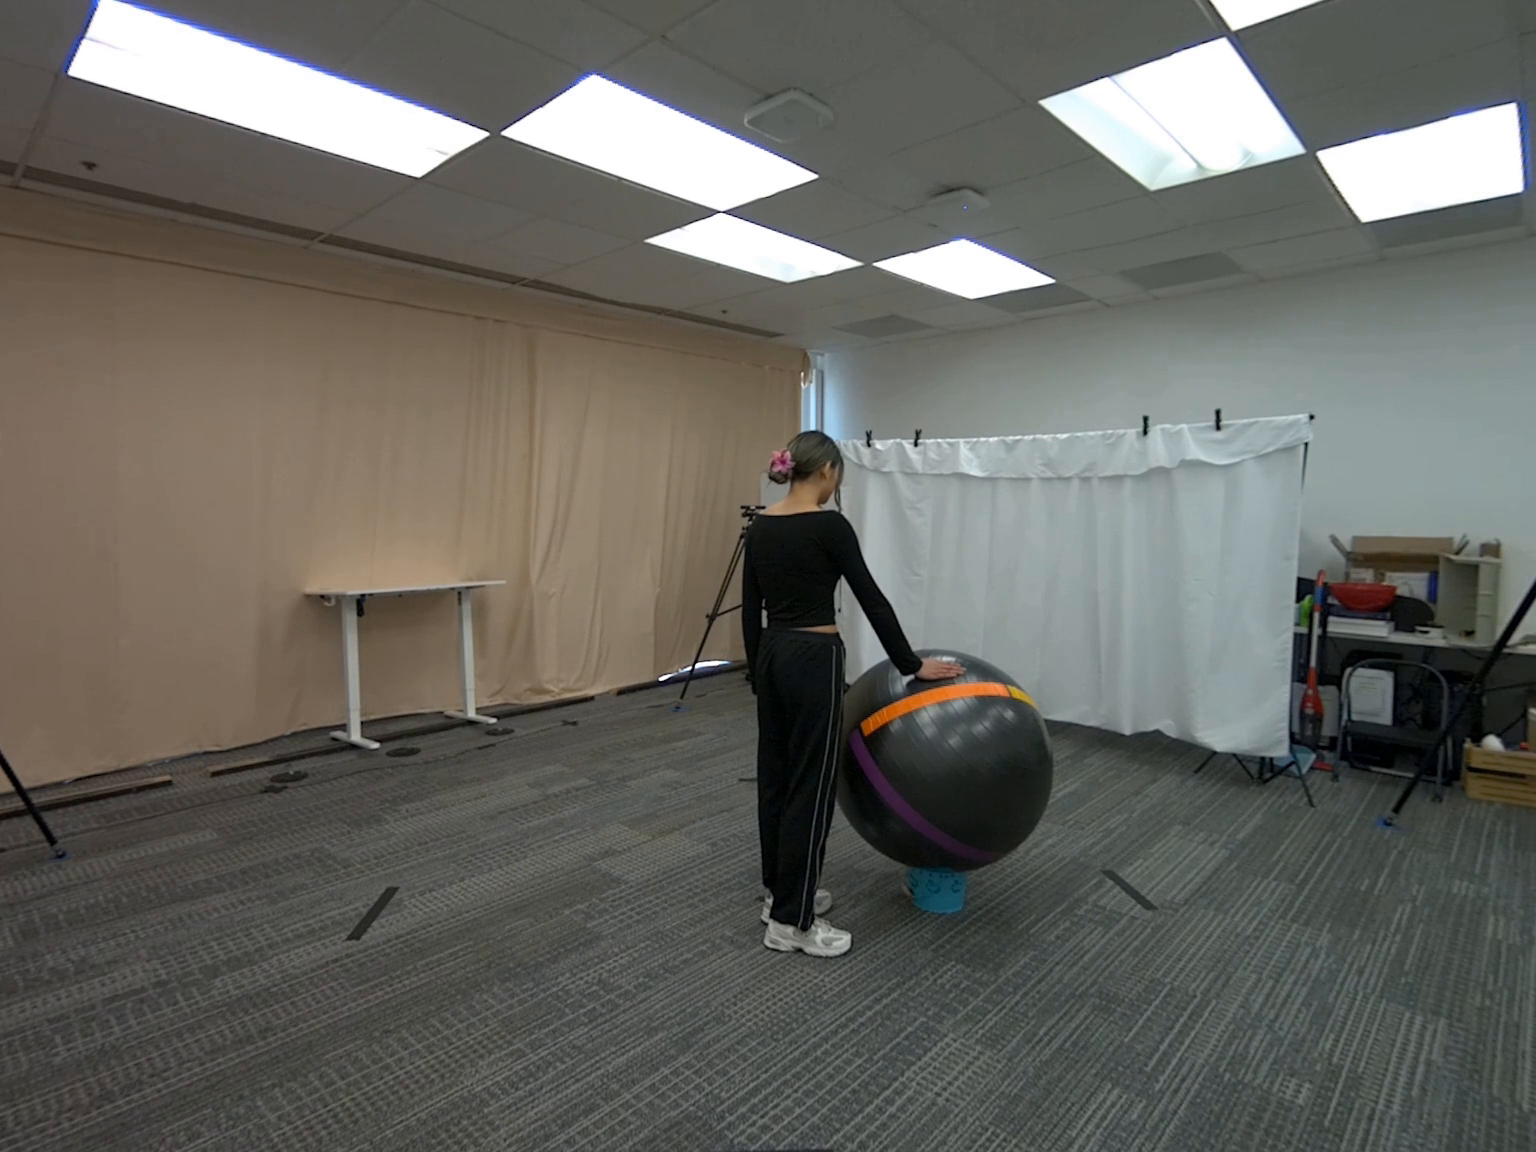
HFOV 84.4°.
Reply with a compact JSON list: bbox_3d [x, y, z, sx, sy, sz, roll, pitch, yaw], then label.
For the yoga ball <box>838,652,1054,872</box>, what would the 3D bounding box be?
[{"bbox_3d":[0.600,0.634,2.945,0.757,0.756,0.760,0,4,-2],"label":"yoga ball"}]
